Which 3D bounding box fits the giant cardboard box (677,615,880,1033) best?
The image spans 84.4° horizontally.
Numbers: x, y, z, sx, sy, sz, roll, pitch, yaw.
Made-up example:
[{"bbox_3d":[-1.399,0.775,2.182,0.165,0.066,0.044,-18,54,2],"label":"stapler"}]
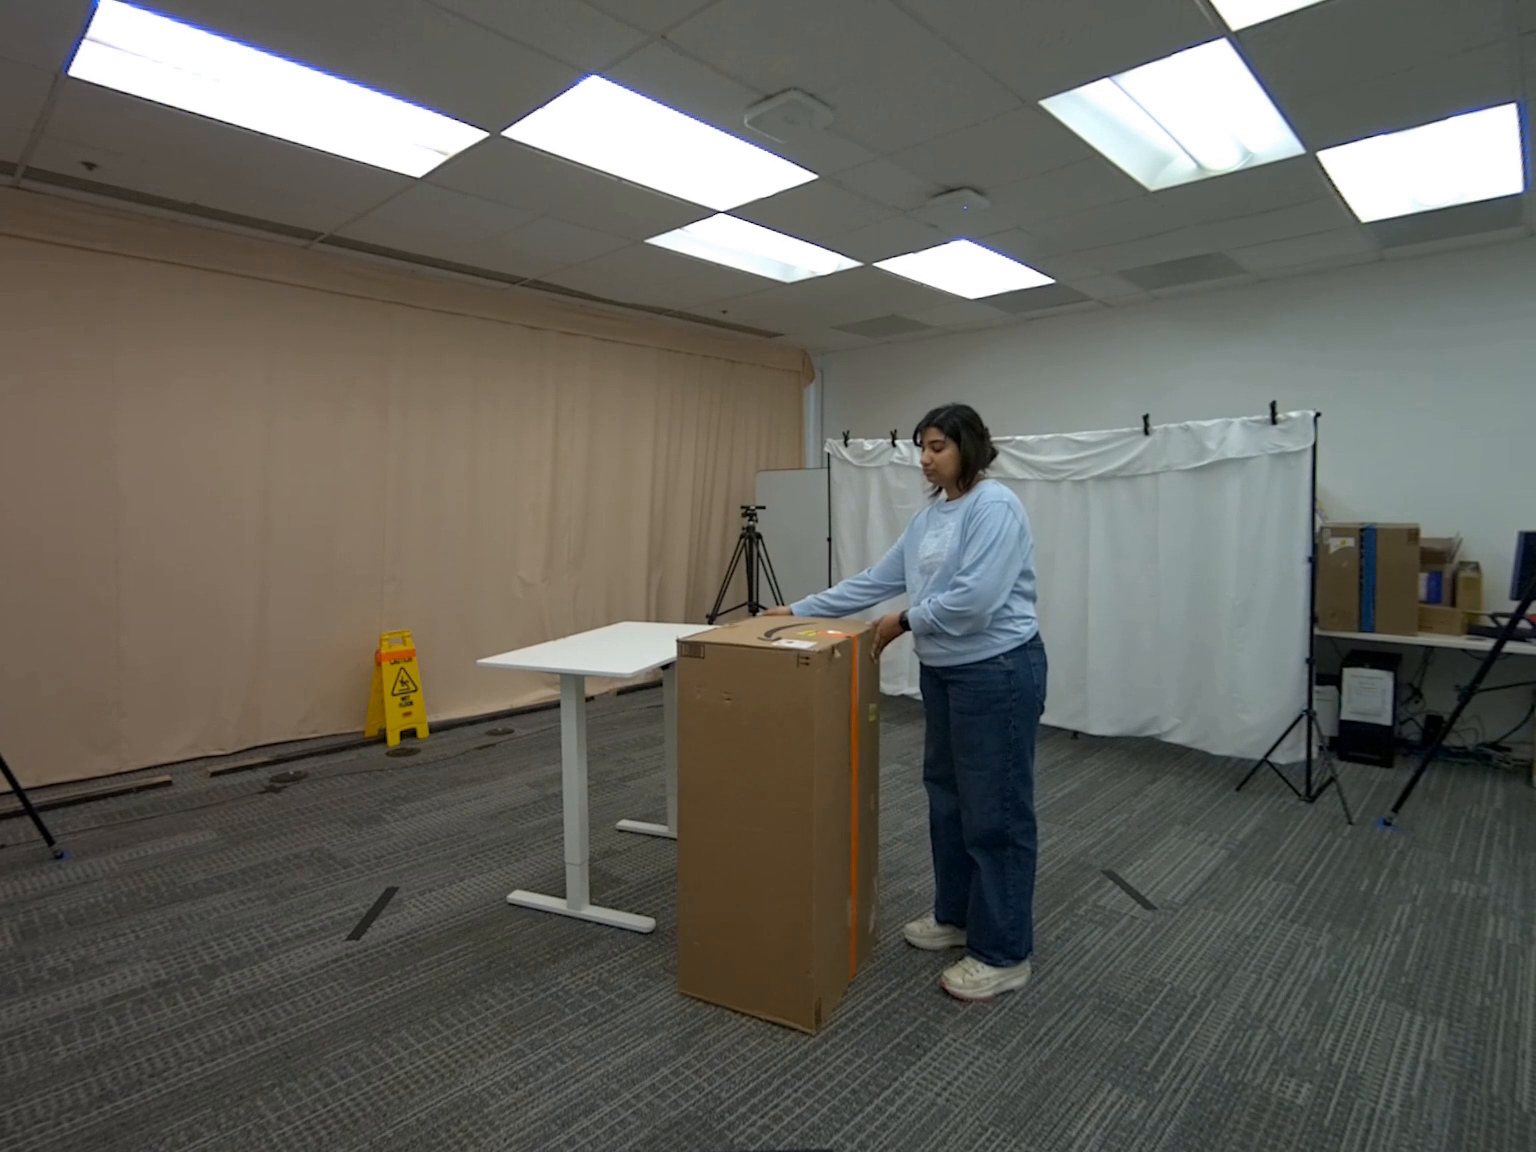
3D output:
[{"bbox_3d":[0.047,0.675,2.533,0.438,1.024,0.563,1,3,27],"label":"giant cardboard box"}]
